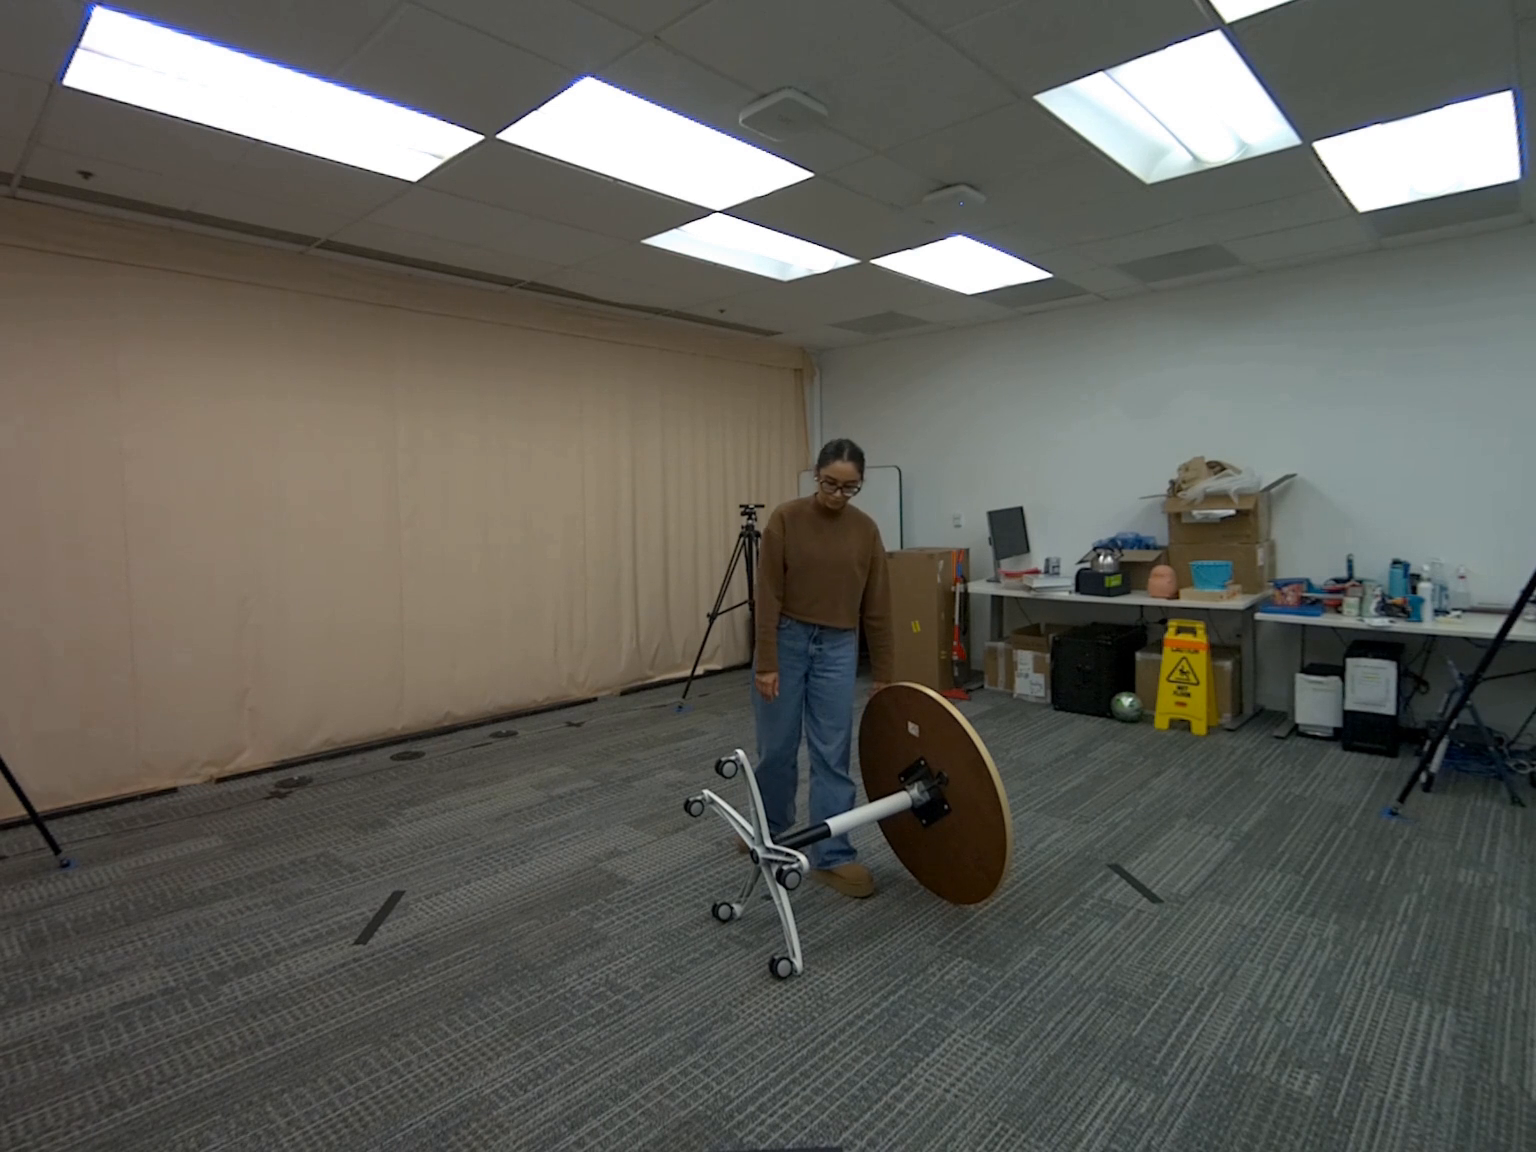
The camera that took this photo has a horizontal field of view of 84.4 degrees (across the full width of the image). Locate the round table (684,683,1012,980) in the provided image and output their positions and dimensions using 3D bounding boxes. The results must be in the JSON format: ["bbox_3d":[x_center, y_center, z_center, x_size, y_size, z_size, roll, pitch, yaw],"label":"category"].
[{"bbox_3d":[0.234,0.820,2.771,0.776,0.760,0.785,-11,8,-27],"label":"round table"}]
